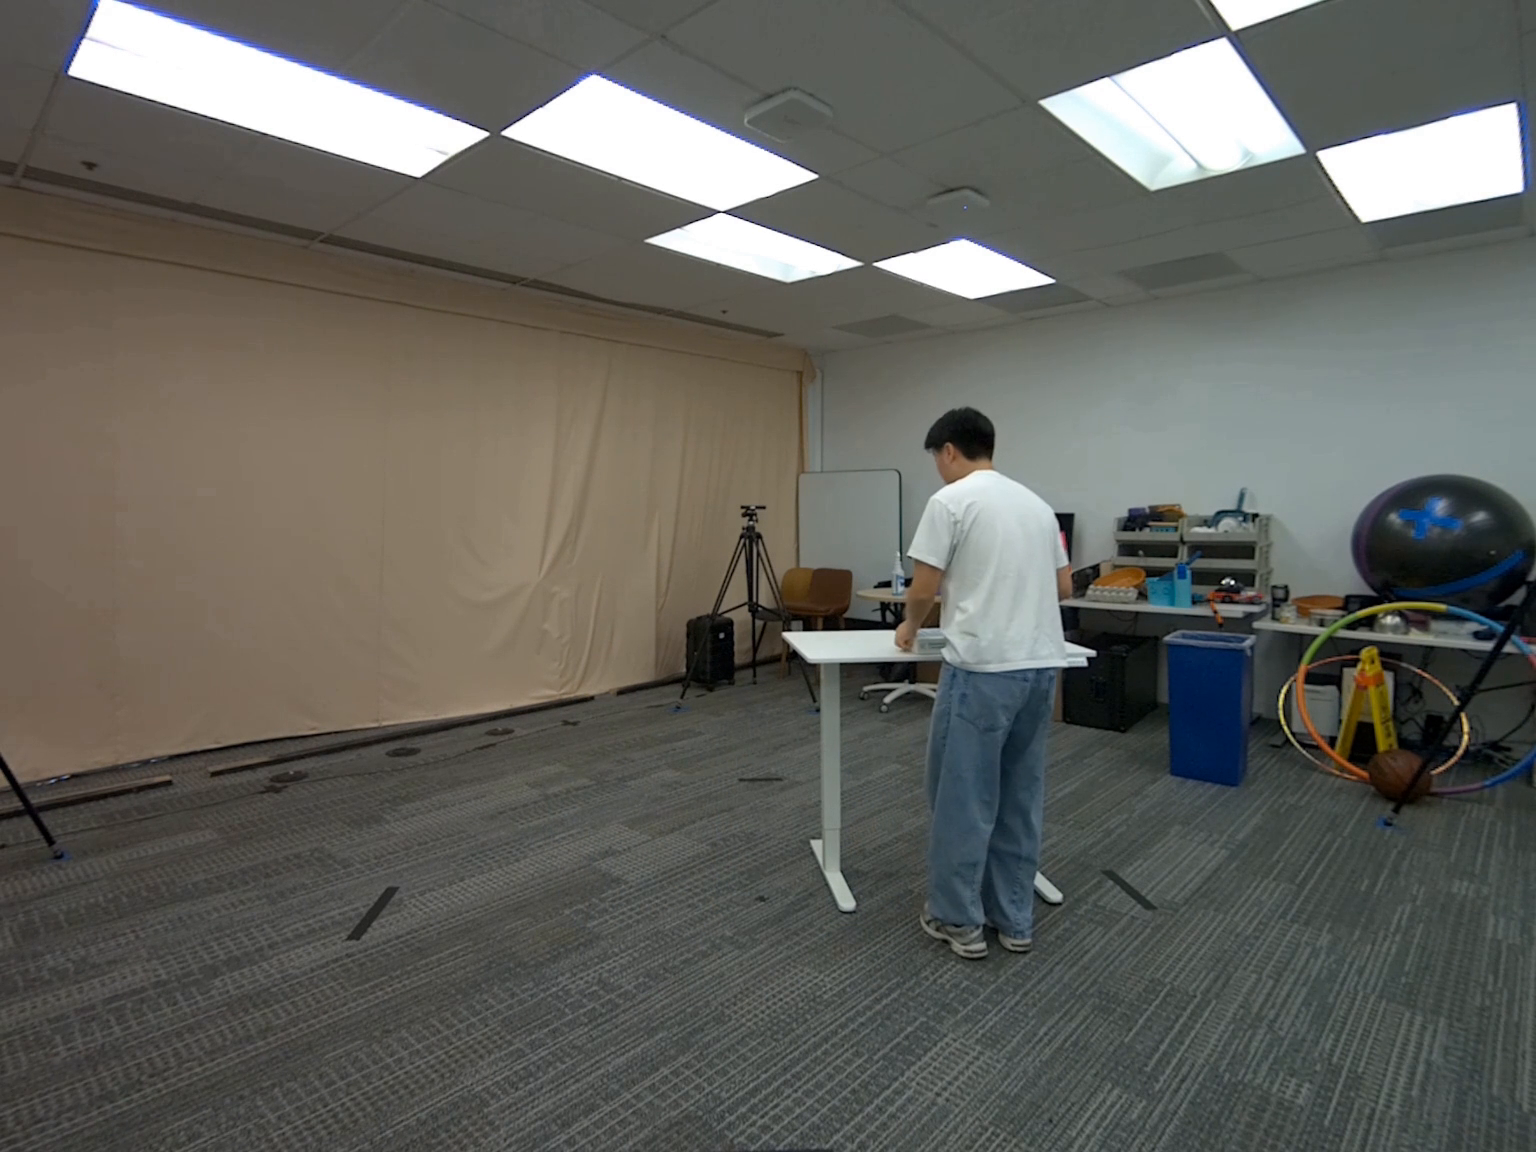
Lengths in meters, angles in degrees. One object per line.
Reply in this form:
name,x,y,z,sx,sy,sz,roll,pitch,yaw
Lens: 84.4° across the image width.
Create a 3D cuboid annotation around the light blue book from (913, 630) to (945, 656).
light blue book,0.630,0.230,2.963,0.259,0.059,0.193,0,3,-8
